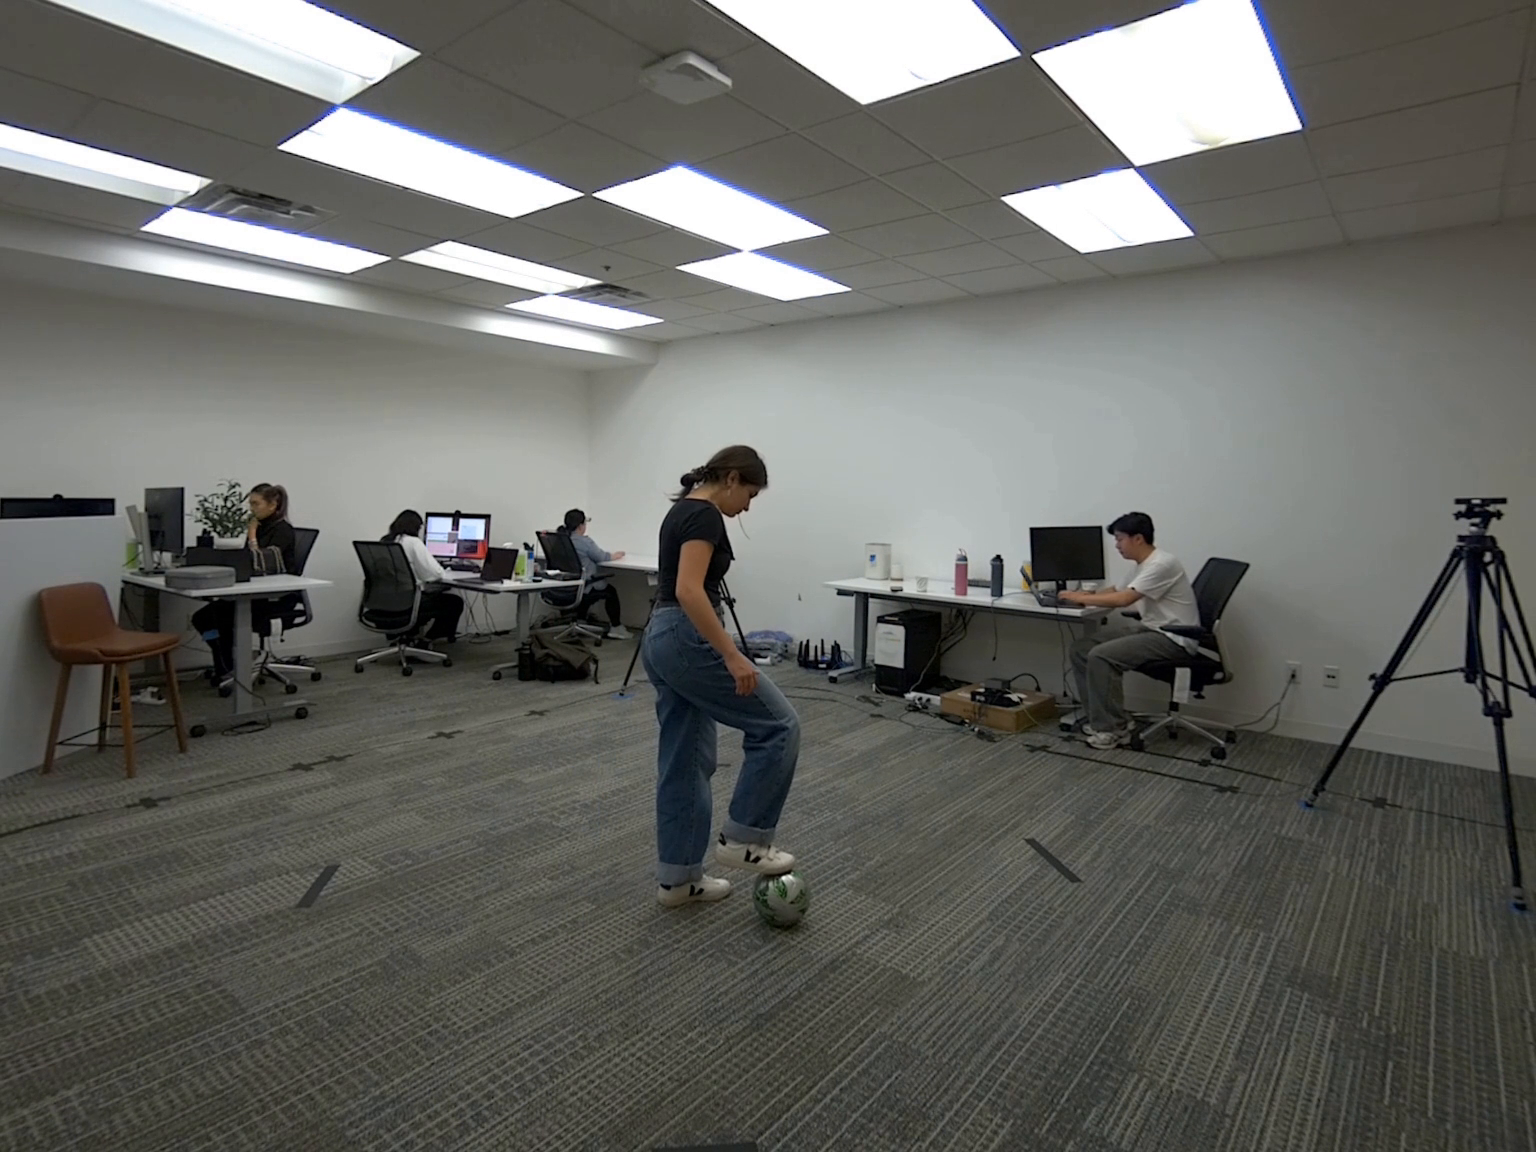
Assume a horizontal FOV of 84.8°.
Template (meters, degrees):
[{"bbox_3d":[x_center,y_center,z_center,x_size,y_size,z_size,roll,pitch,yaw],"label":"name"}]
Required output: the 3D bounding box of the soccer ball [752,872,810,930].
[{"bbox_3d":[0.042,1.016,2.741,0.187,0.187,0.188,1,4,-2],"label":"soccer ball"}]
